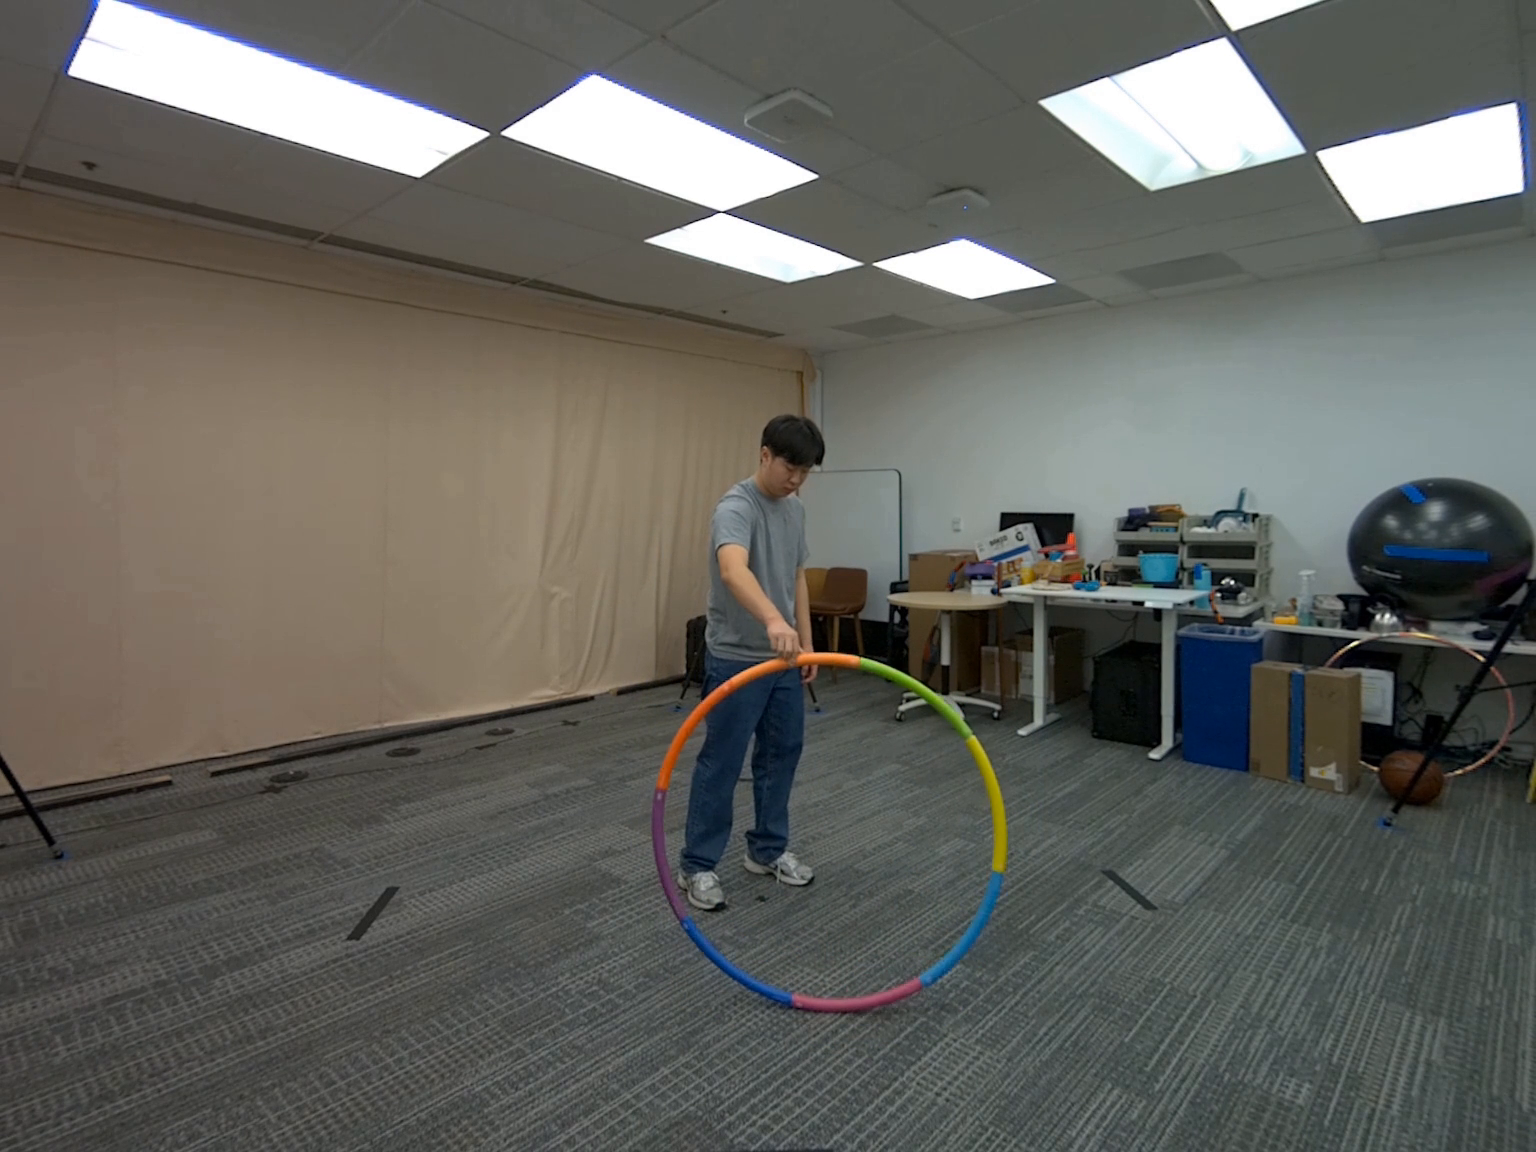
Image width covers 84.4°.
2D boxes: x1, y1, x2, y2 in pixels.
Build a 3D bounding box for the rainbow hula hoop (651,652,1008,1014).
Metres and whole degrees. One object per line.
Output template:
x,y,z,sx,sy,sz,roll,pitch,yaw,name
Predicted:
0.169,0.715,2.379,0.985,0.983,0.035,0,-8,6,rainbow hula hoop
